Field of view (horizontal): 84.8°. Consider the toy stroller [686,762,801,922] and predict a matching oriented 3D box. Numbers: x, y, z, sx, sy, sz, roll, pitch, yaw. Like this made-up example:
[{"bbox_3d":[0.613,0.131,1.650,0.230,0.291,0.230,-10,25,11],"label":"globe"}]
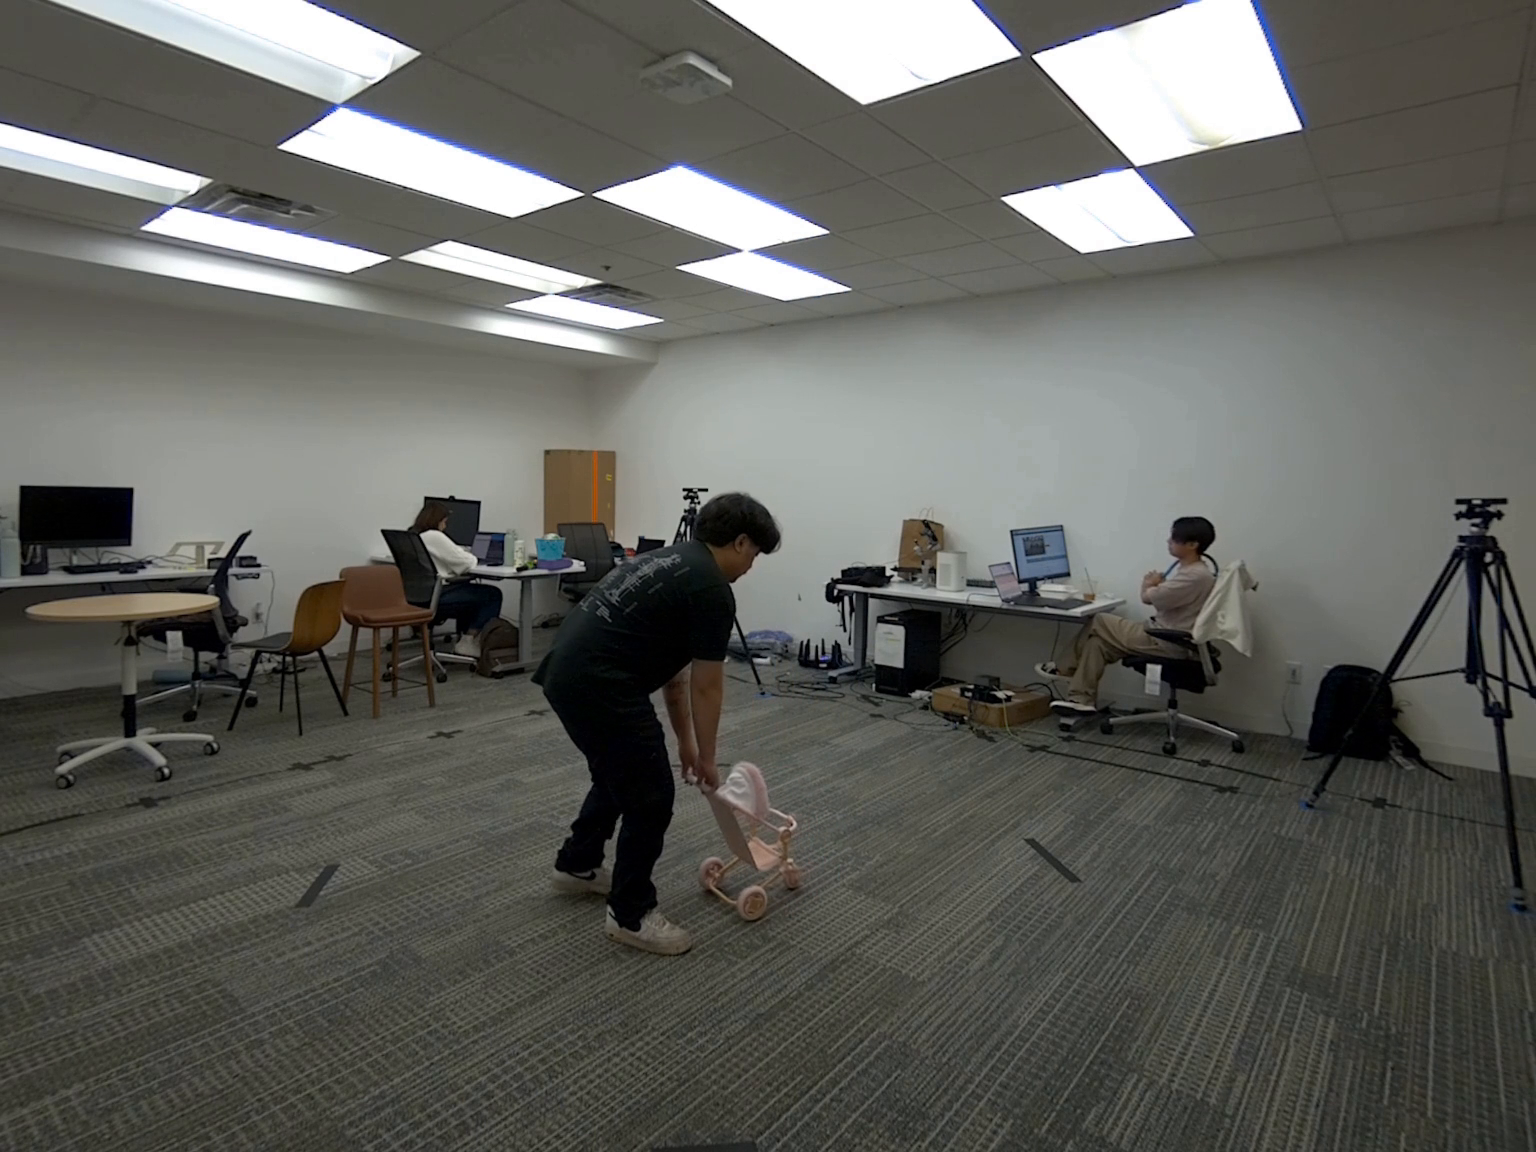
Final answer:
[{"bbox_3d":[-0.069,0.866,2.875,0.335,0.529,0.290,-16,11,-27],"label":"toy stroller"}]
